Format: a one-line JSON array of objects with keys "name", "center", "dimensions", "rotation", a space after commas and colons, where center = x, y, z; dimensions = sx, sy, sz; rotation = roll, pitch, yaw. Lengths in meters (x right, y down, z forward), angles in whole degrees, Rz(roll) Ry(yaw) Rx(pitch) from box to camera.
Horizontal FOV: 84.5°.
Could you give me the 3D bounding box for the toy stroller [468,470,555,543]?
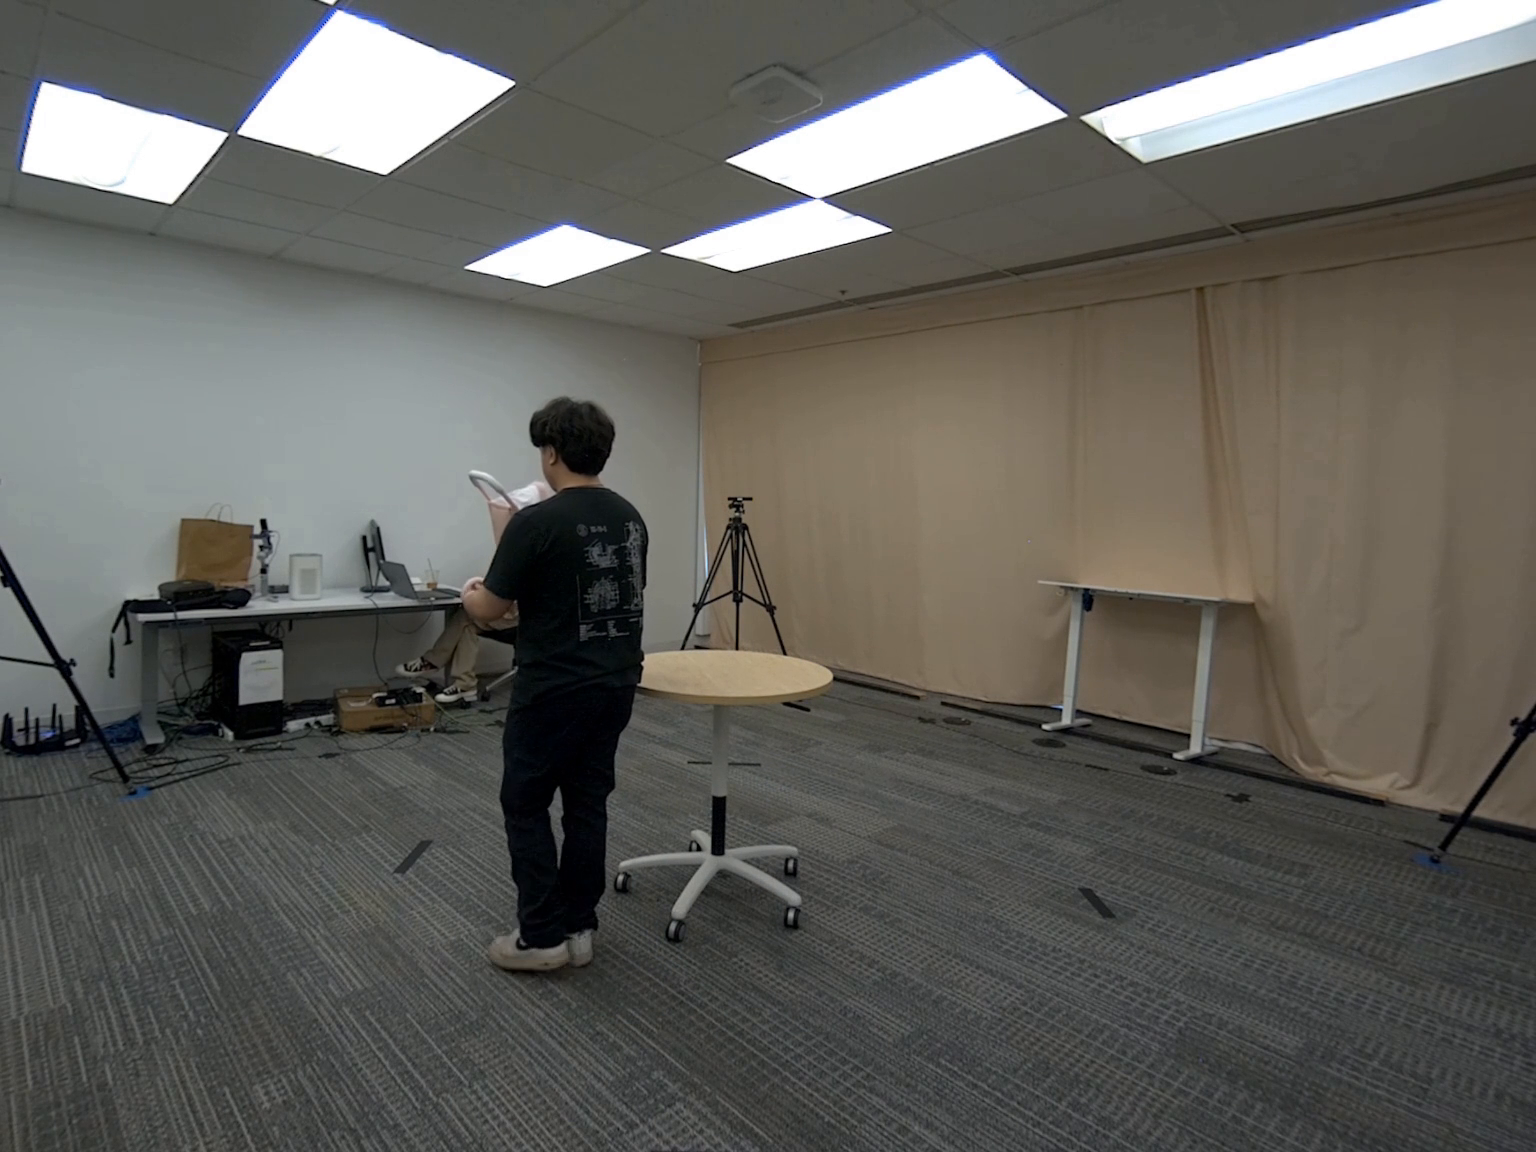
[{"name": "toy stroller", "center": [-0.809, -0.073, 2.775], "dimensions": [0.334, 0.533, 0.289], "rotation": [-1, 7, -36]}]
